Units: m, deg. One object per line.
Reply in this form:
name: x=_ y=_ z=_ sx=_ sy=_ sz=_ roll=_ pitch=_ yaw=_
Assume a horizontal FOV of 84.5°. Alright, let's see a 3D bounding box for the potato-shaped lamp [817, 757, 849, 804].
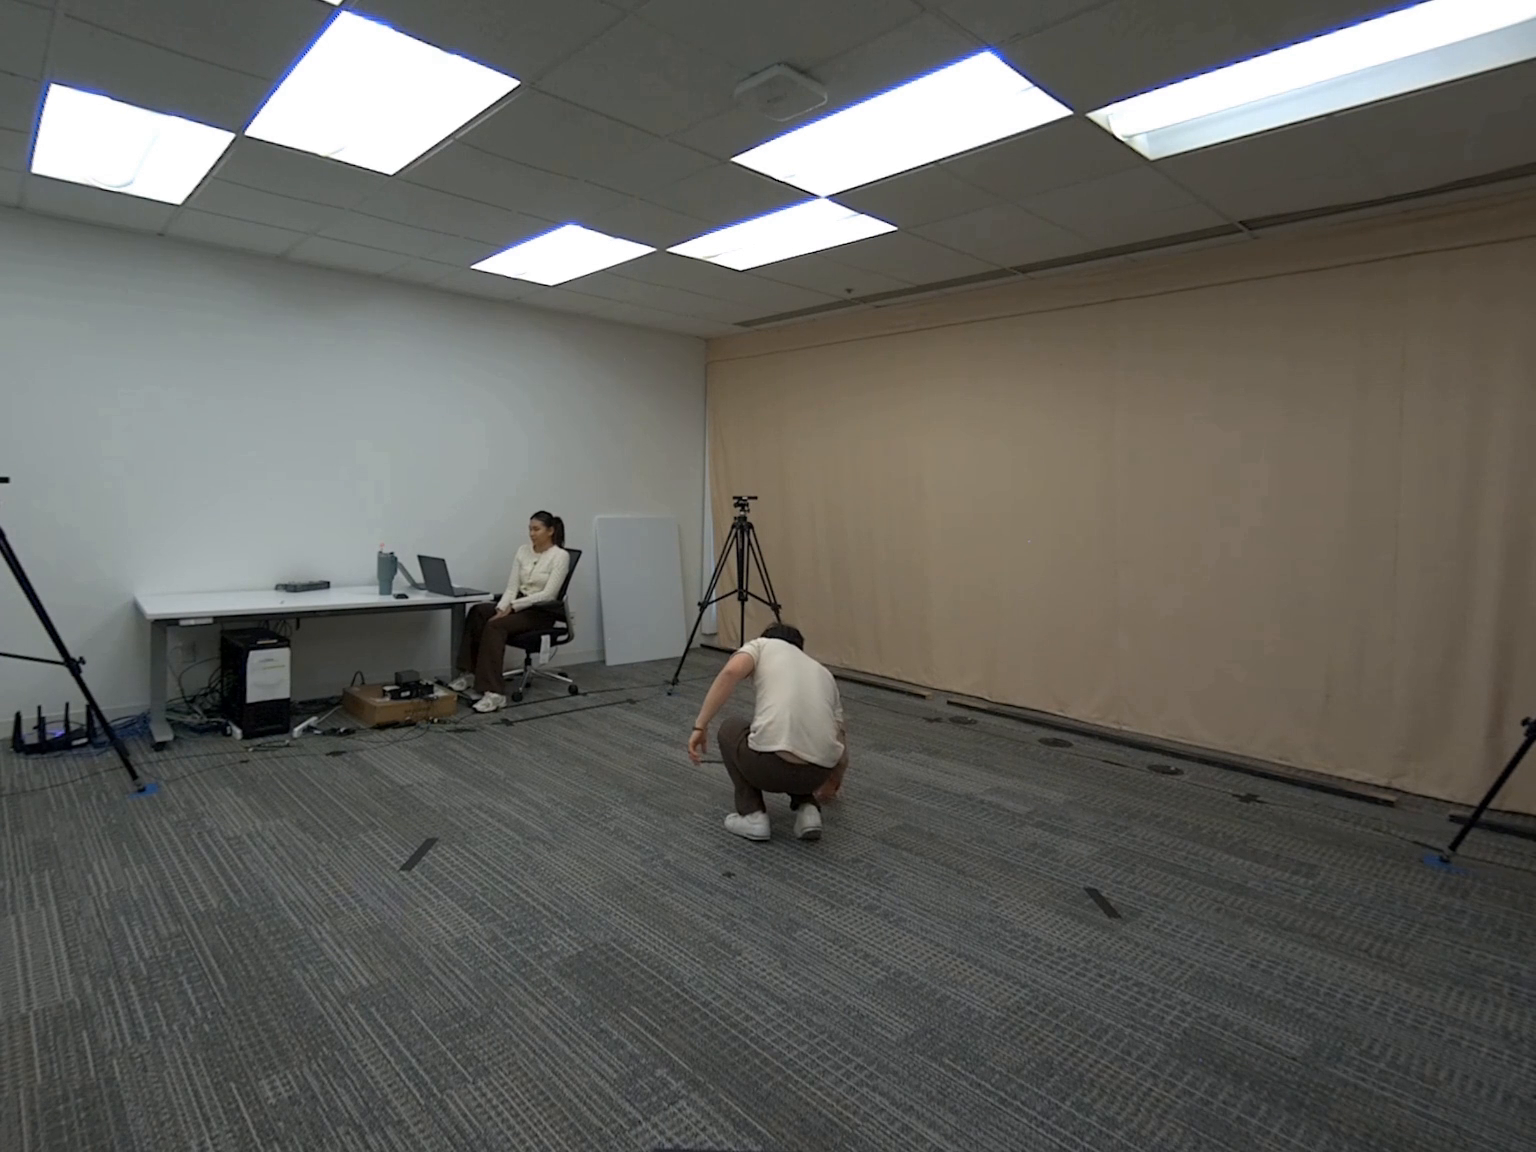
potato-shaped lamp: x=0.241 y=0.924 z=3.917 sx=0.160 sy=0.198 sz=0.175 roll=9 pitch=-5 yaw=-36
